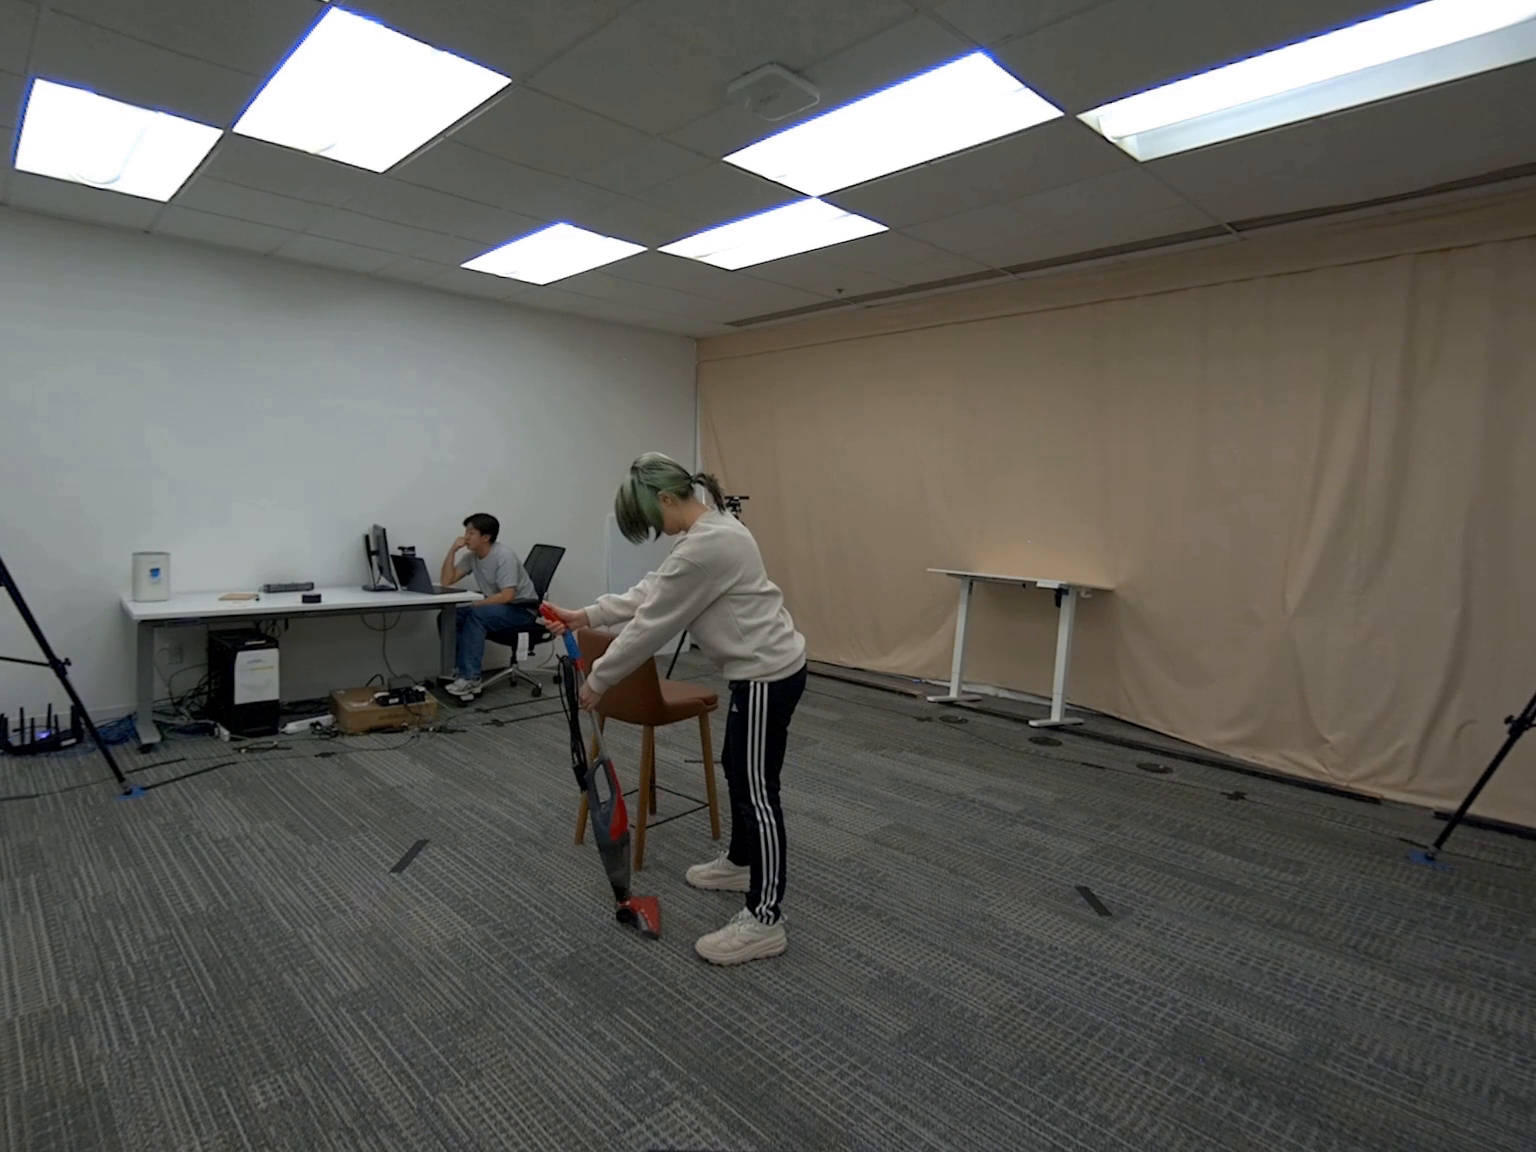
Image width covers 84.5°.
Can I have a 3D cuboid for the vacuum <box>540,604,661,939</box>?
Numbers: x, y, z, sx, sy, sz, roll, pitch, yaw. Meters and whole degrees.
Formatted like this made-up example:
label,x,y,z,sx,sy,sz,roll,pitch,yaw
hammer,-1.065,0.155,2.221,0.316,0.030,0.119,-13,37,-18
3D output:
label,x,y,z,sx,sy,sz,roll,pitch,yaw
vacuum,-0.581,0.627,2.719,0.143,1.046,0.255,-20,3,-13
